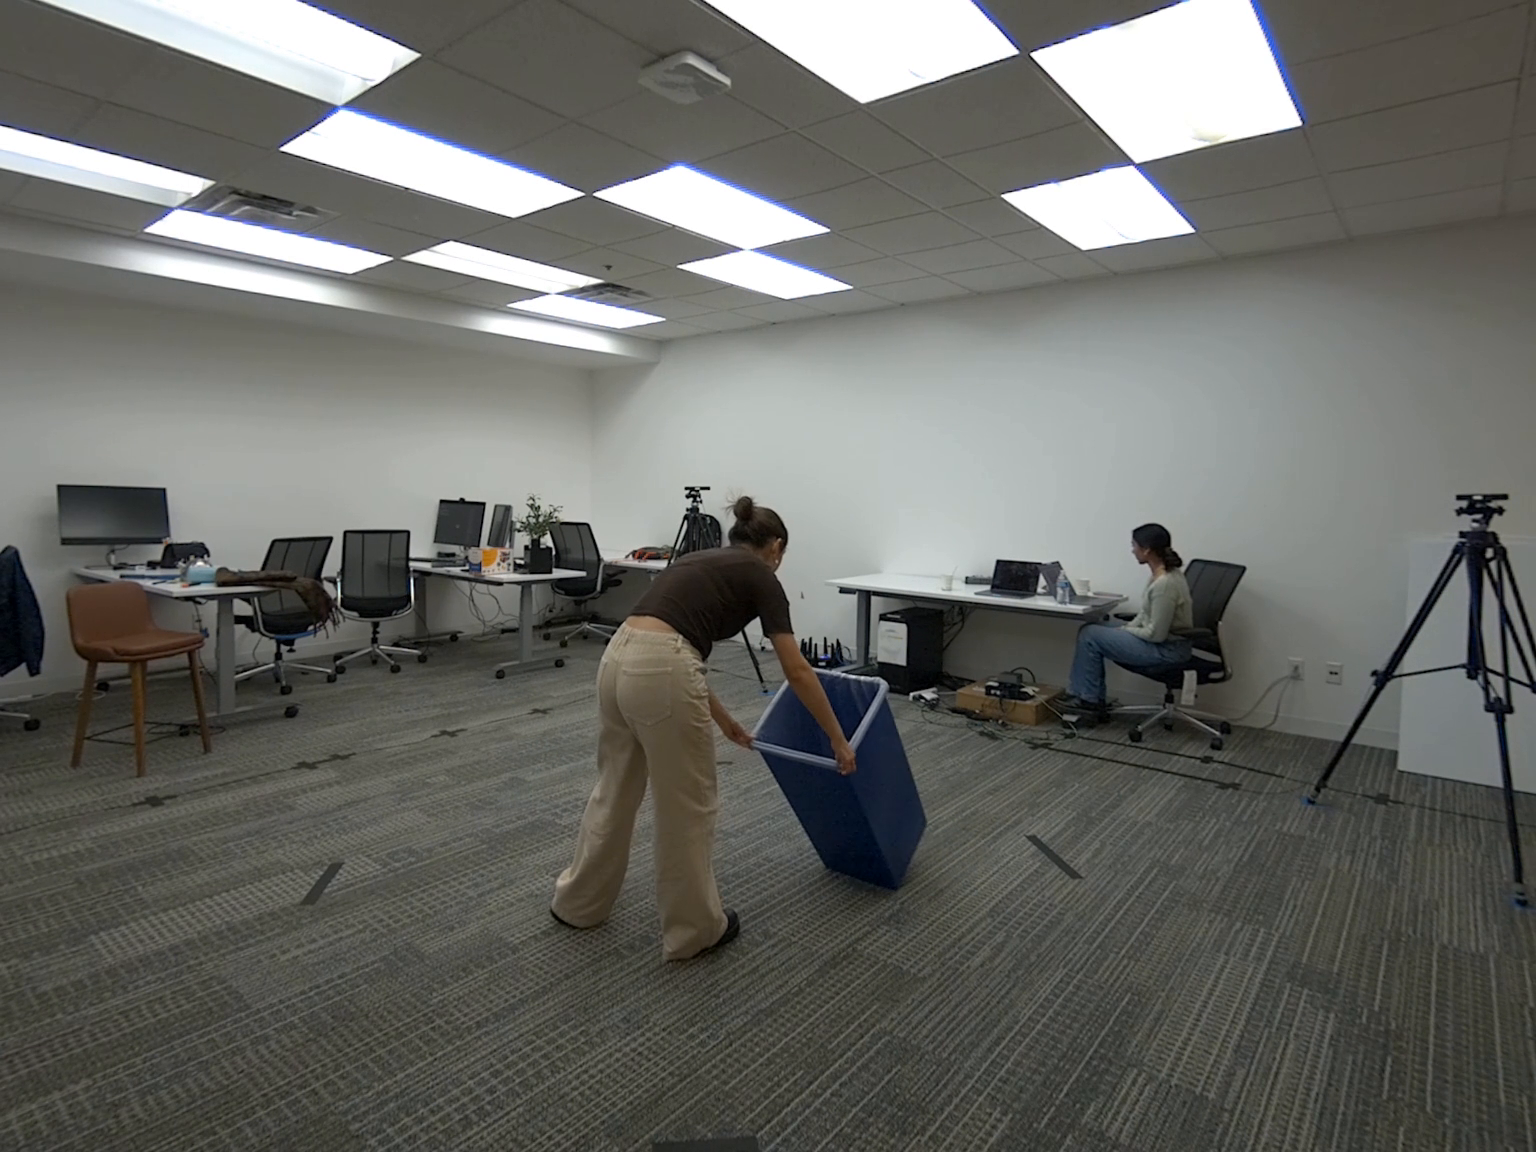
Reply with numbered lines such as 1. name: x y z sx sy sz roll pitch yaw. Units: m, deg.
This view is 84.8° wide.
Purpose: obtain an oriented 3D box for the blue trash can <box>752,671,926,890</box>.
1. blue trash can: 0.261 0.714 2.948 0.390 0.690 0.374 3 39 38
